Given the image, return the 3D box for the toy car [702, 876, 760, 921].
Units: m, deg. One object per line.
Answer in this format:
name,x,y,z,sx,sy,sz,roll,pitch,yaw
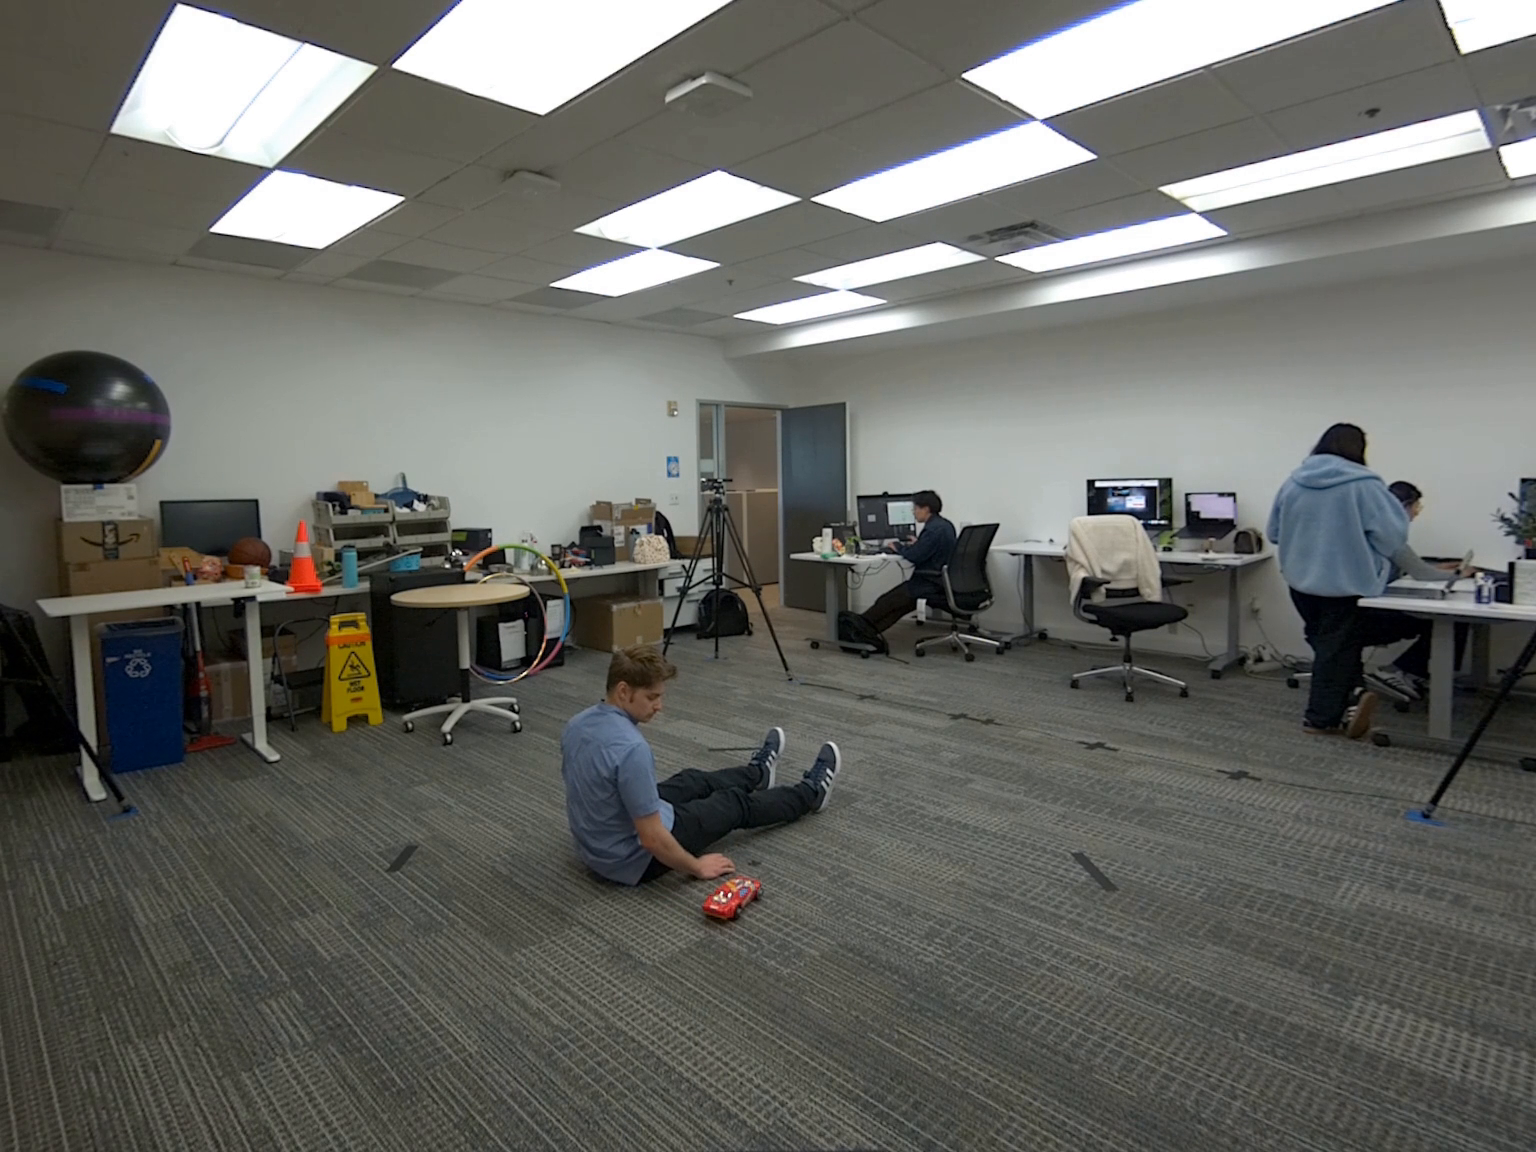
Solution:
toy car,-0.115,1.056,2.773,0.134,0.083,0.247,4,-4,31
